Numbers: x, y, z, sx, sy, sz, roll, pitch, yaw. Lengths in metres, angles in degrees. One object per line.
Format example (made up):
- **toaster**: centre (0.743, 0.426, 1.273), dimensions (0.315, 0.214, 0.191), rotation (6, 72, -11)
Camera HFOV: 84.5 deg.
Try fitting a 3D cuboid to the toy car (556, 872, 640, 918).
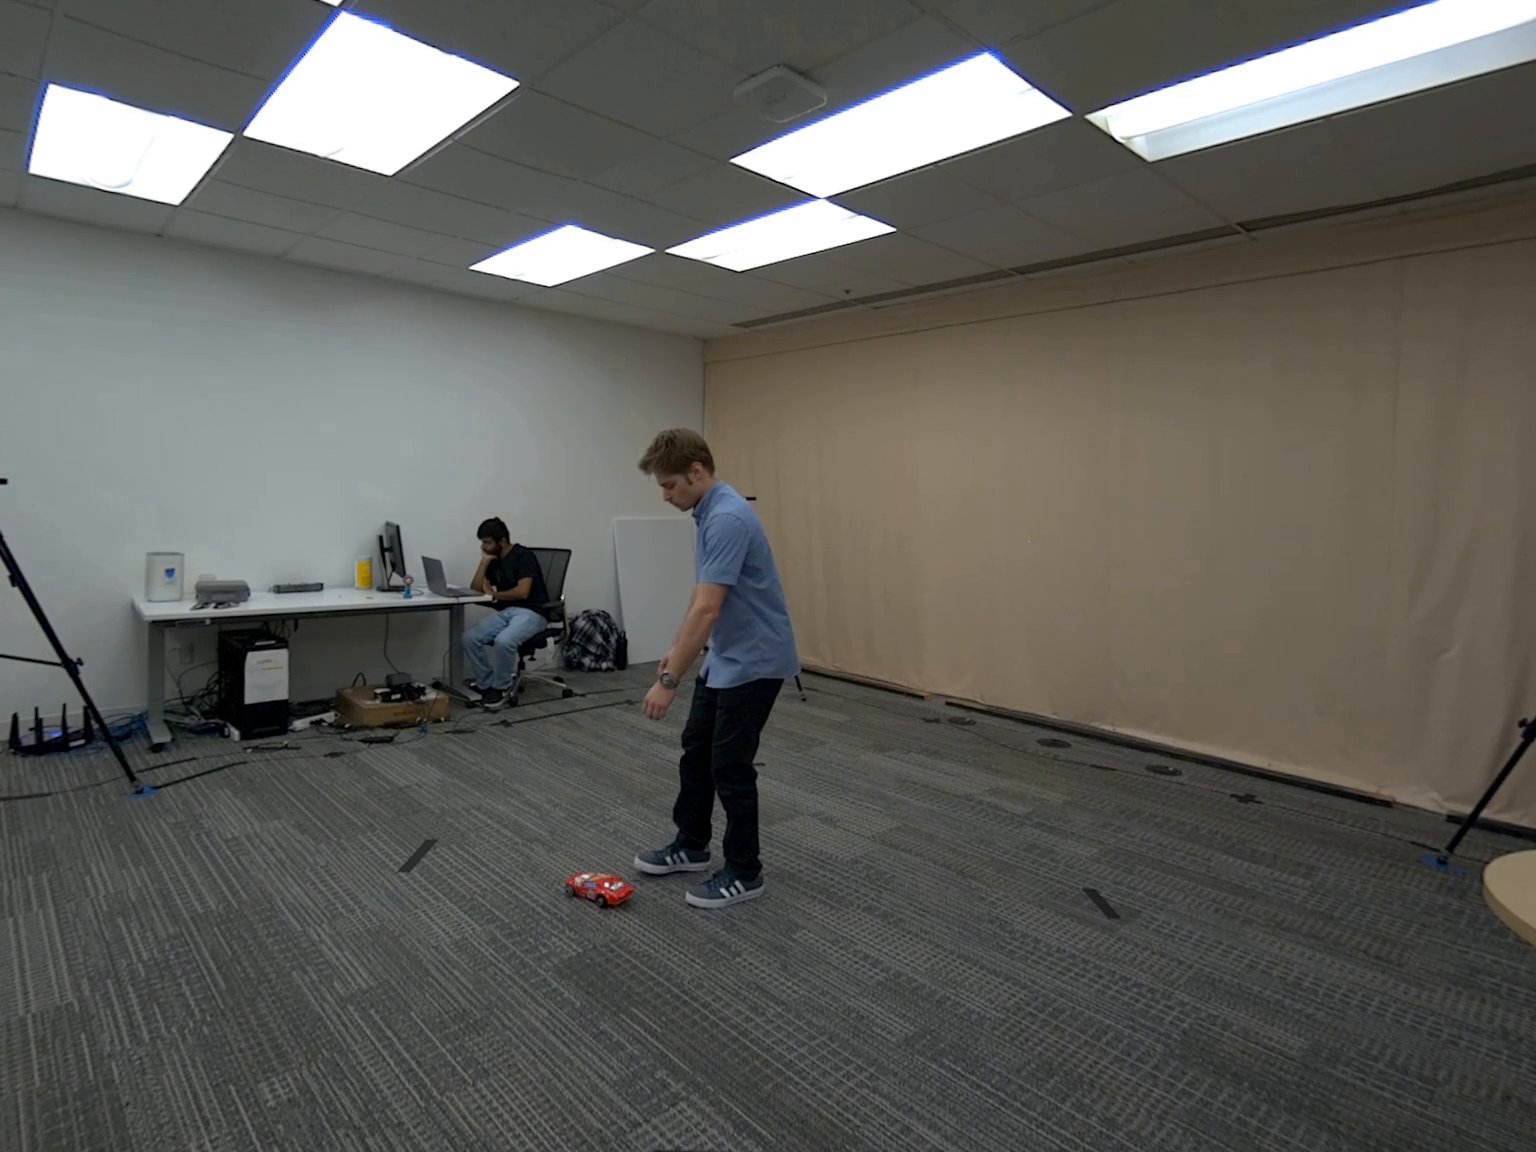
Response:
- **toy car**: centre (-0.586, 1.089, 2.902), dimensions (0.259, 0.083, 0.127), rotation (-8, -2, 33)
